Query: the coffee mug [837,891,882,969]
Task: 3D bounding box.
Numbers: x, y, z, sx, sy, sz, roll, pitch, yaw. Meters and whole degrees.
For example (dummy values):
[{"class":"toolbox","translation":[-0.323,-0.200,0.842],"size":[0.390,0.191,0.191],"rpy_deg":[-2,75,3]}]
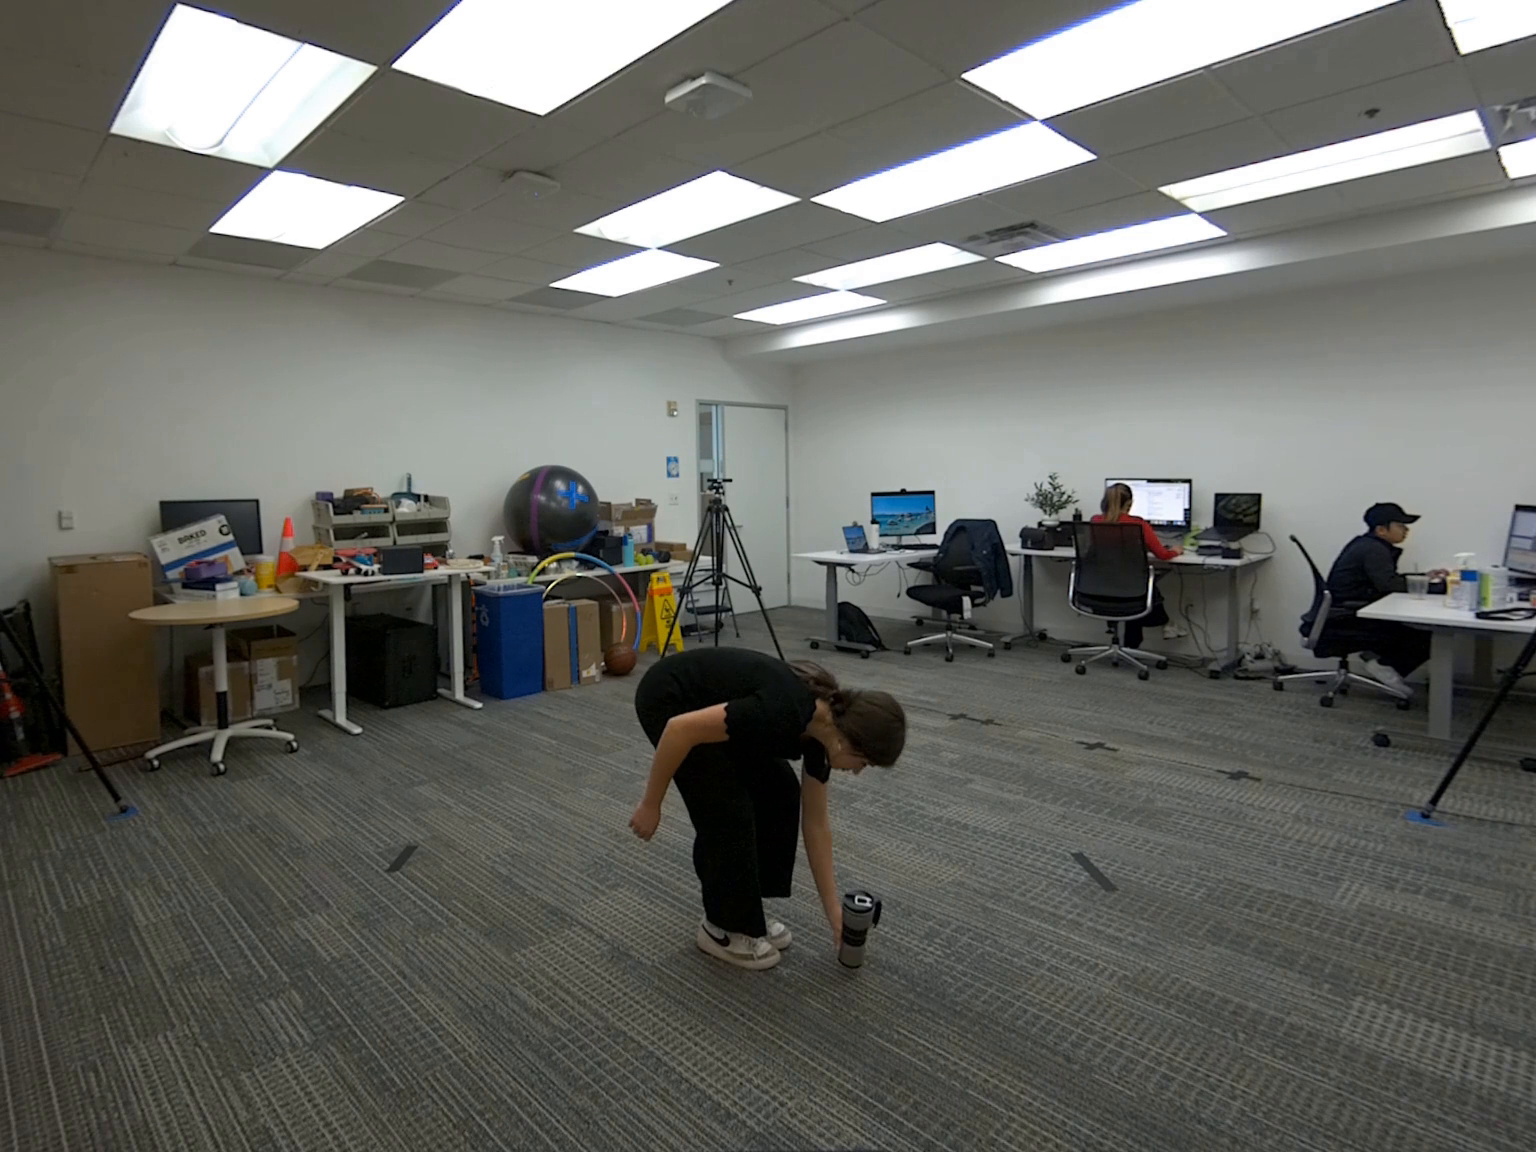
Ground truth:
[{"class":"coffee mug","translation":[0.245,0.980,2.399],"size":[0.119,0.201,0.091],"rpy_deg":[-8,18,-43]}]
